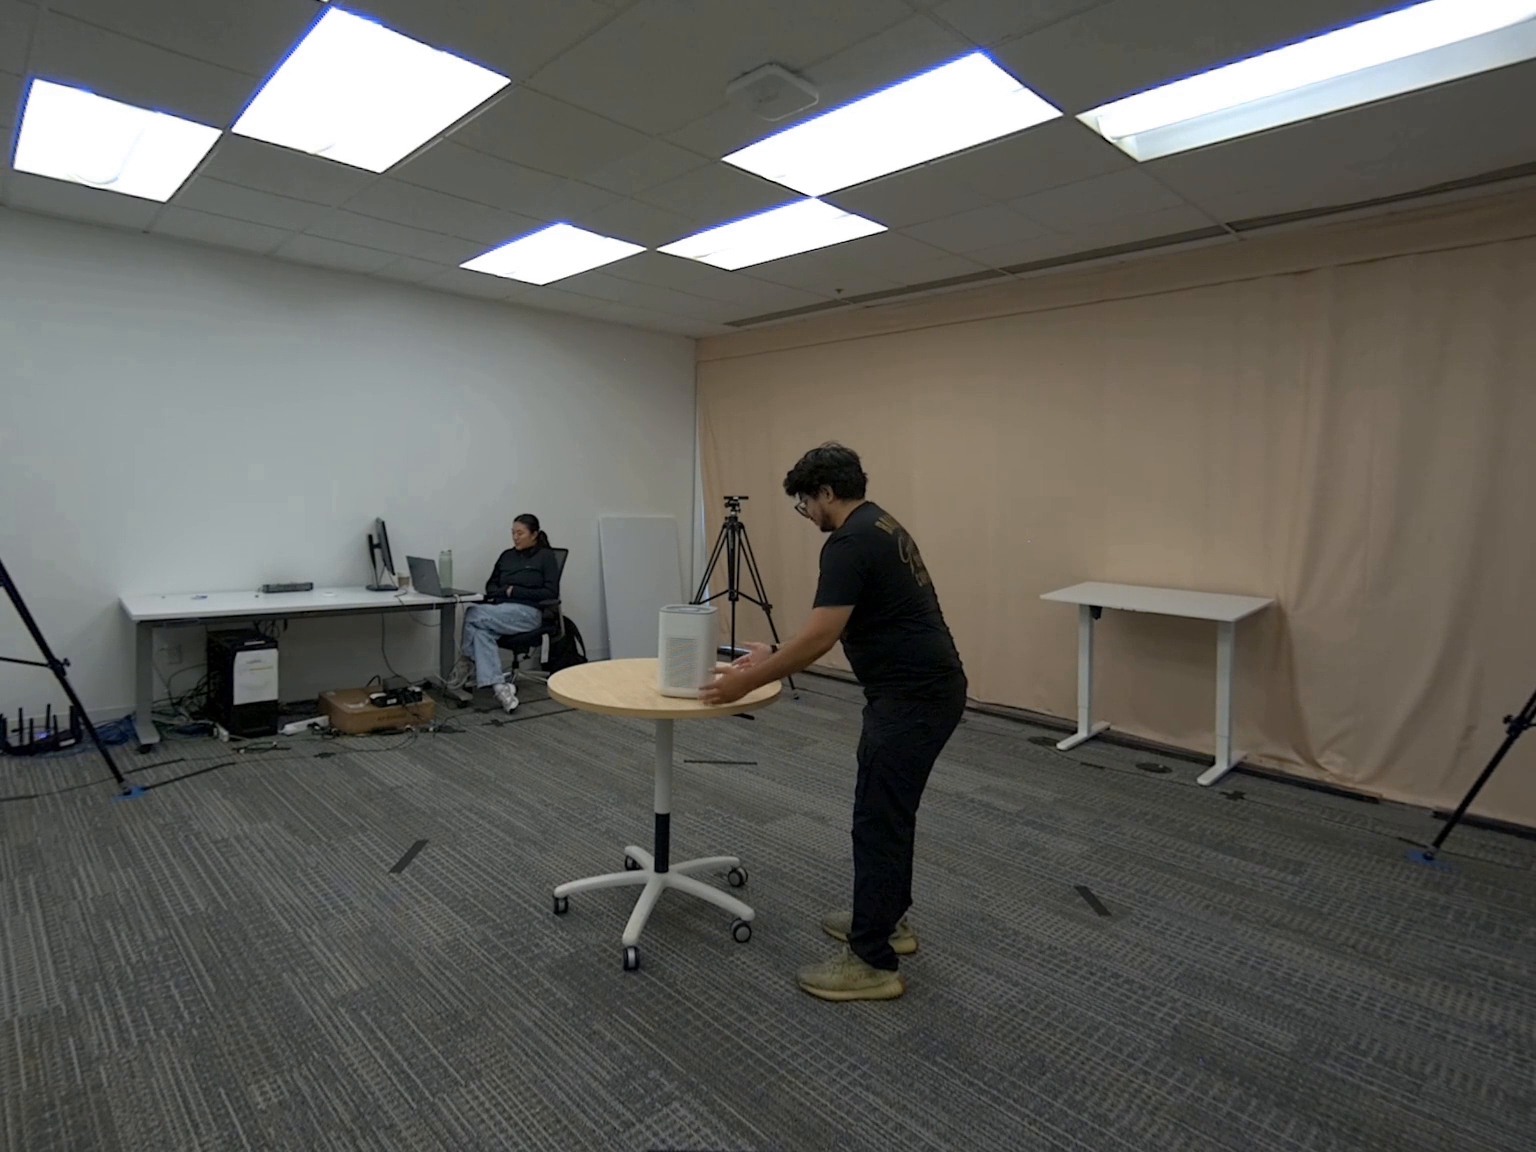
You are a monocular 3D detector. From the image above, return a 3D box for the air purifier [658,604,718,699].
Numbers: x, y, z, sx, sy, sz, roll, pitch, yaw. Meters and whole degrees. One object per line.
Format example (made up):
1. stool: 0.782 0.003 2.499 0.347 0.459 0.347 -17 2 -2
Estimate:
1. air purifier: -0.244 0.231 2.604 0.173 0.264 0.171 2 6 7
